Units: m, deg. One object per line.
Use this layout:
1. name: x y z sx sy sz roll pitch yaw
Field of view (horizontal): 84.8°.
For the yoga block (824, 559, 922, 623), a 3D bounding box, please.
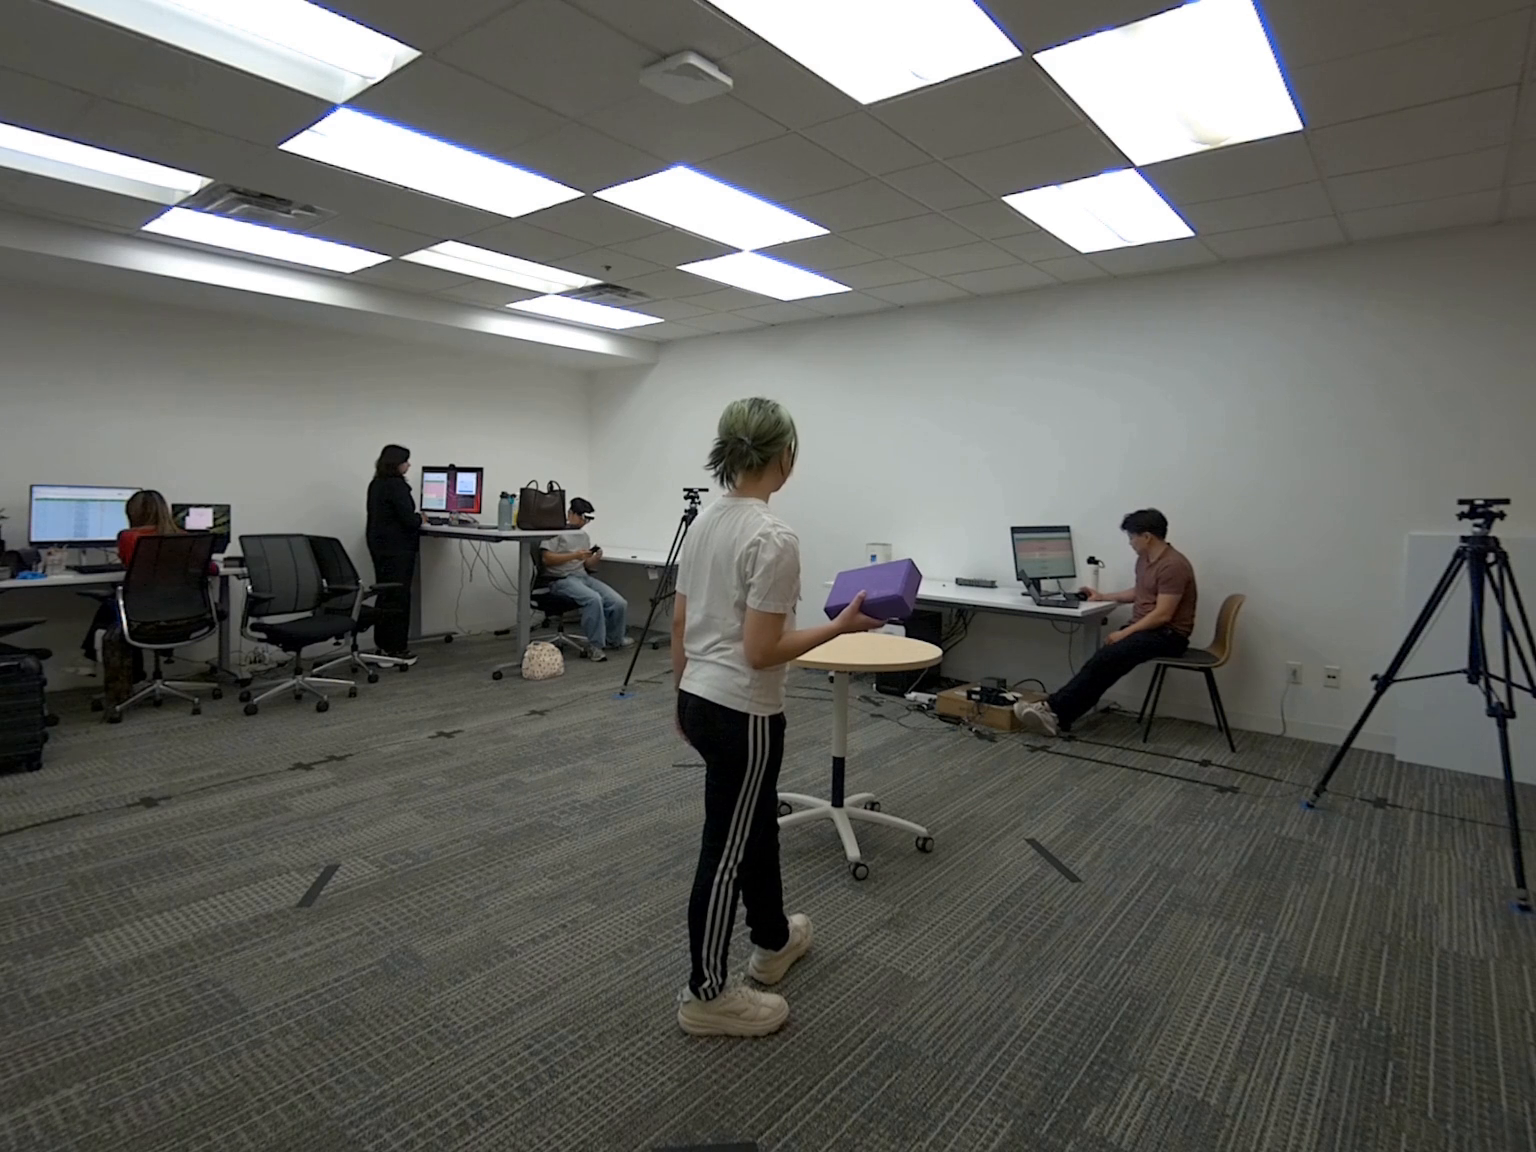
1. yoga block: 0.268 0.043 2.204 0.235 0.074 0.150 -12 35 37
